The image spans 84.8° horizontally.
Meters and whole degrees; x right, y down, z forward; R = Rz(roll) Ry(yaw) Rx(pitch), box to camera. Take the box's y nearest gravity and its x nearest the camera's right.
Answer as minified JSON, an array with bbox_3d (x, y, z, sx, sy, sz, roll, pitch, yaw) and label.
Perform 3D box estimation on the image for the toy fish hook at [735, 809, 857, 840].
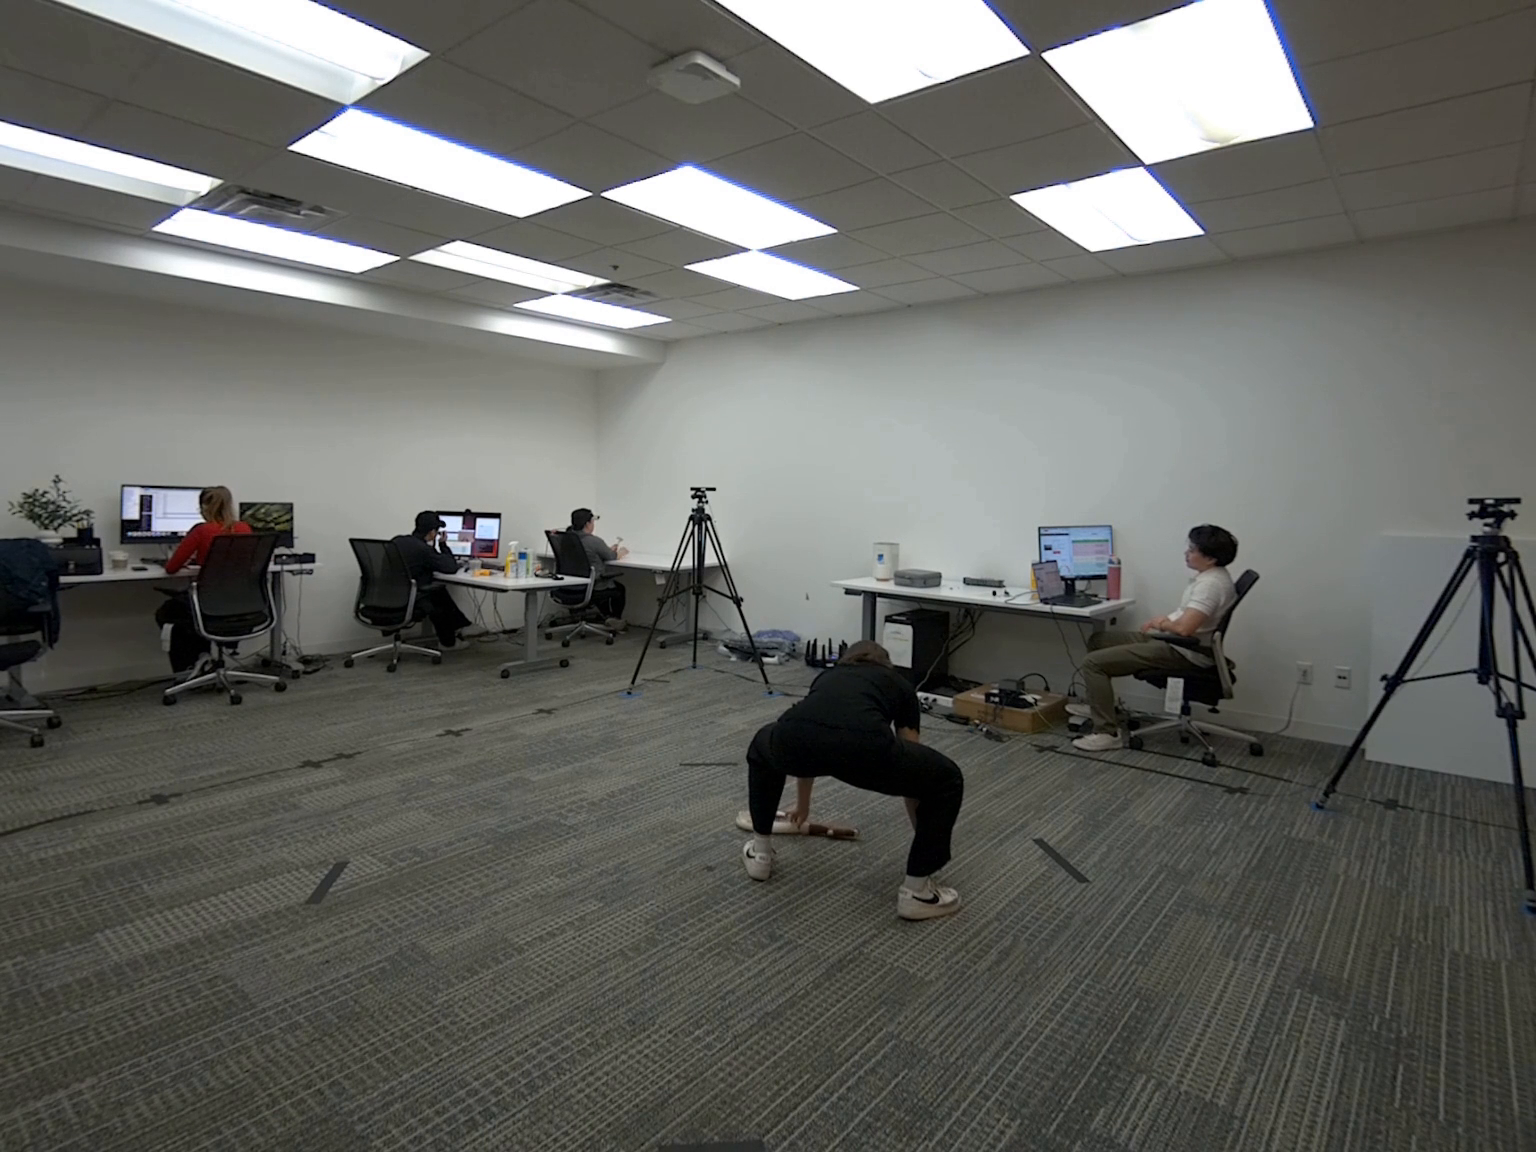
[{"bbox_3d":[0.122,1.011,3.498,0.514,0.048,0.223,3,8,12],"label":"toy fish hook"}]
